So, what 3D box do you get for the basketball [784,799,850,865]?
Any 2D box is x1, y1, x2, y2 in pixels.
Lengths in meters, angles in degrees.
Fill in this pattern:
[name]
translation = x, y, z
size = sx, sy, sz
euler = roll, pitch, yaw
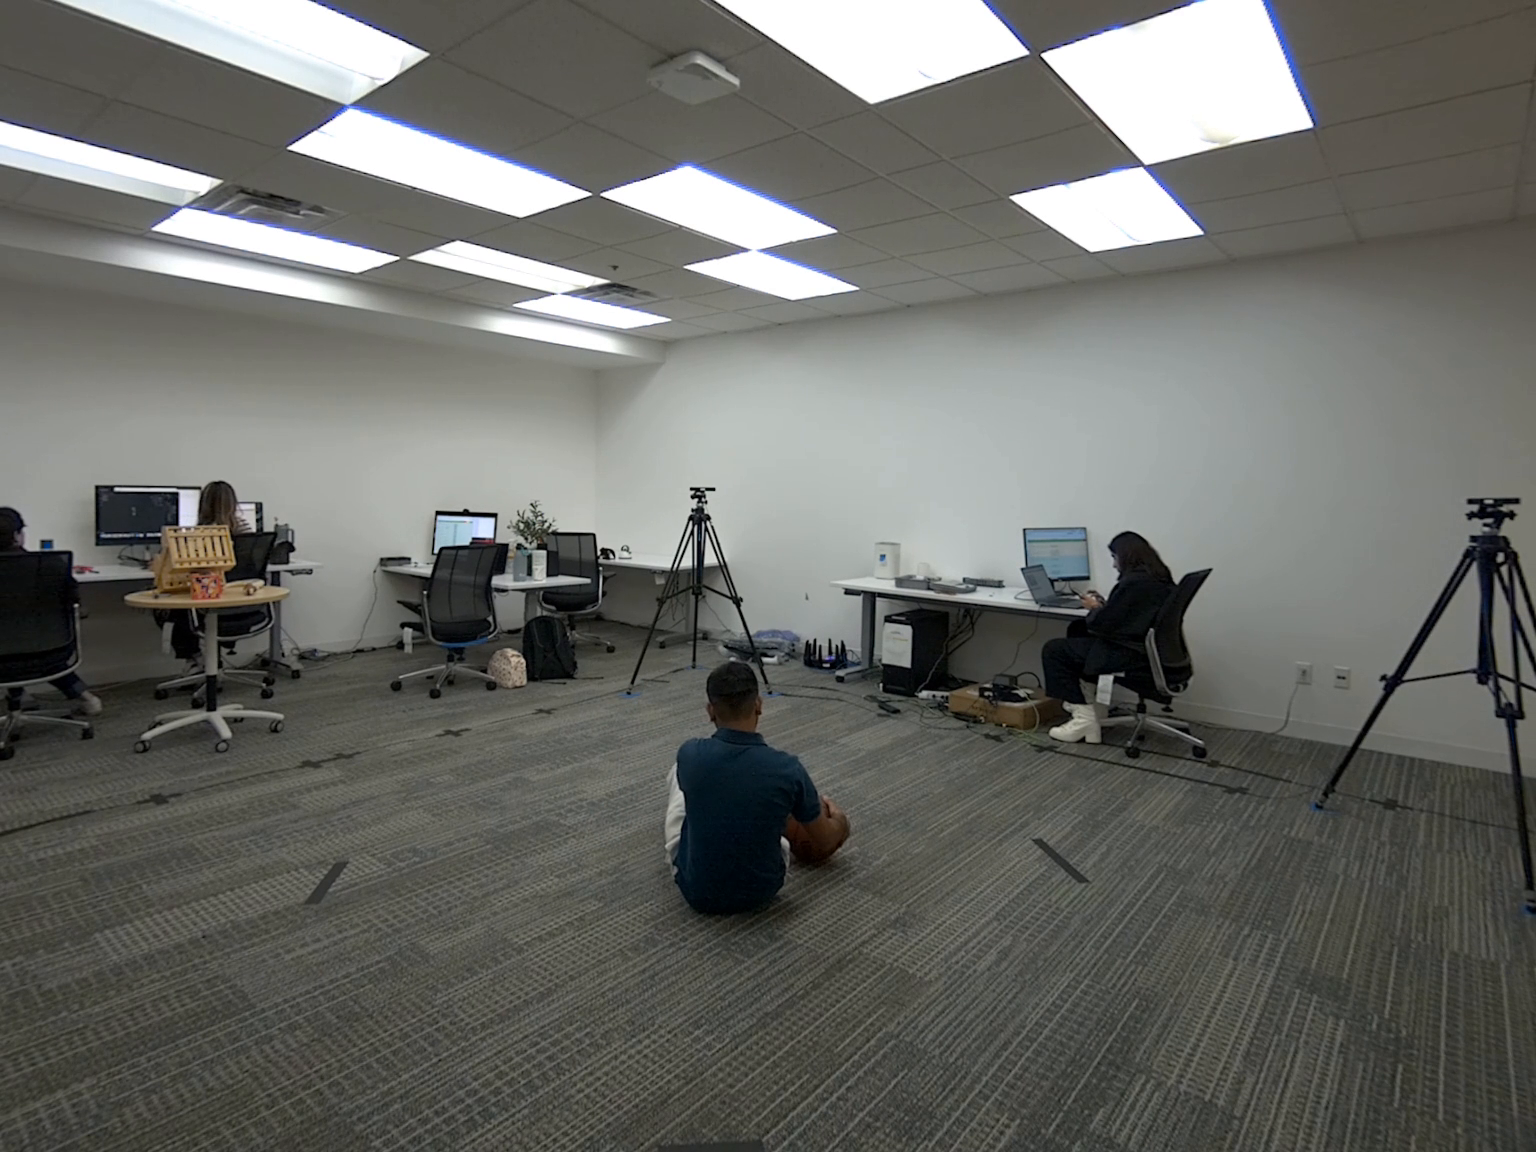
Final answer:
[basketball]
translation = 0.158, 0.941, 3.192
size = 0.235, 0.235, 0.237
euler = 1, 4, -2
